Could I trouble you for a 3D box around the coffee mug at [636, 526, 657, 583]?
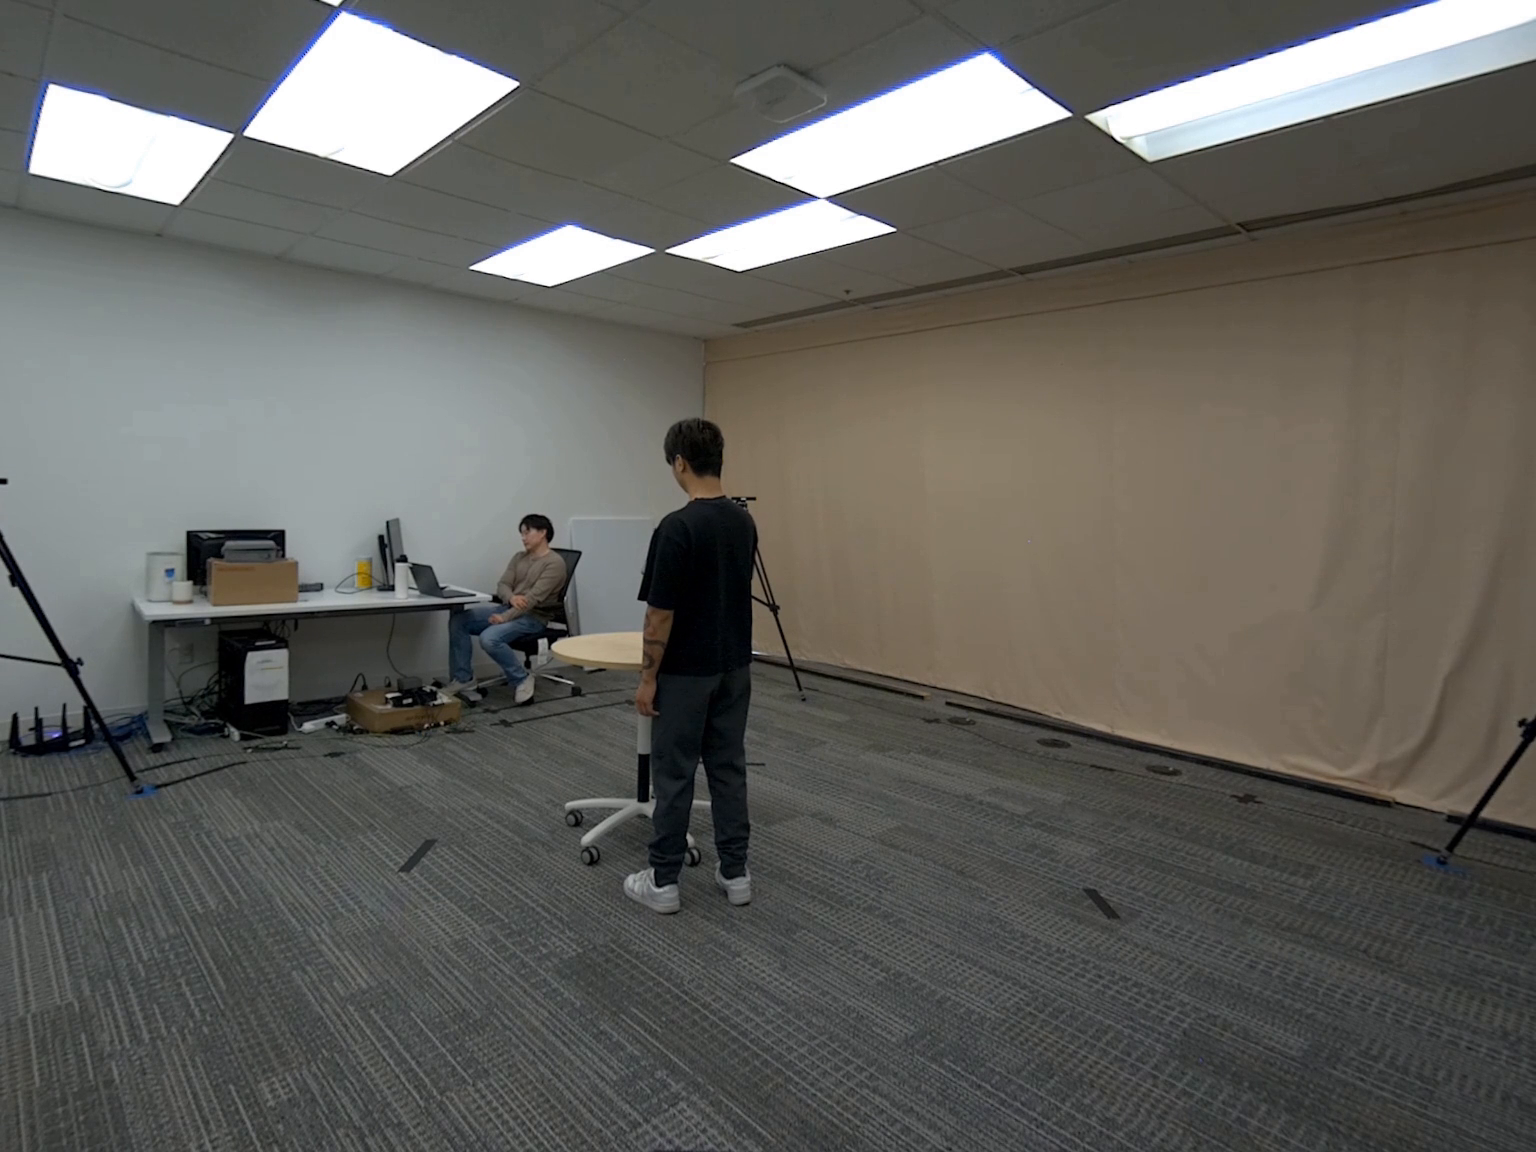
[{"bbox_3d":[-0.449,-0.080,3.402,0.086,0.201,0.125,11,21,-25],"label":"coffee mug"}]
